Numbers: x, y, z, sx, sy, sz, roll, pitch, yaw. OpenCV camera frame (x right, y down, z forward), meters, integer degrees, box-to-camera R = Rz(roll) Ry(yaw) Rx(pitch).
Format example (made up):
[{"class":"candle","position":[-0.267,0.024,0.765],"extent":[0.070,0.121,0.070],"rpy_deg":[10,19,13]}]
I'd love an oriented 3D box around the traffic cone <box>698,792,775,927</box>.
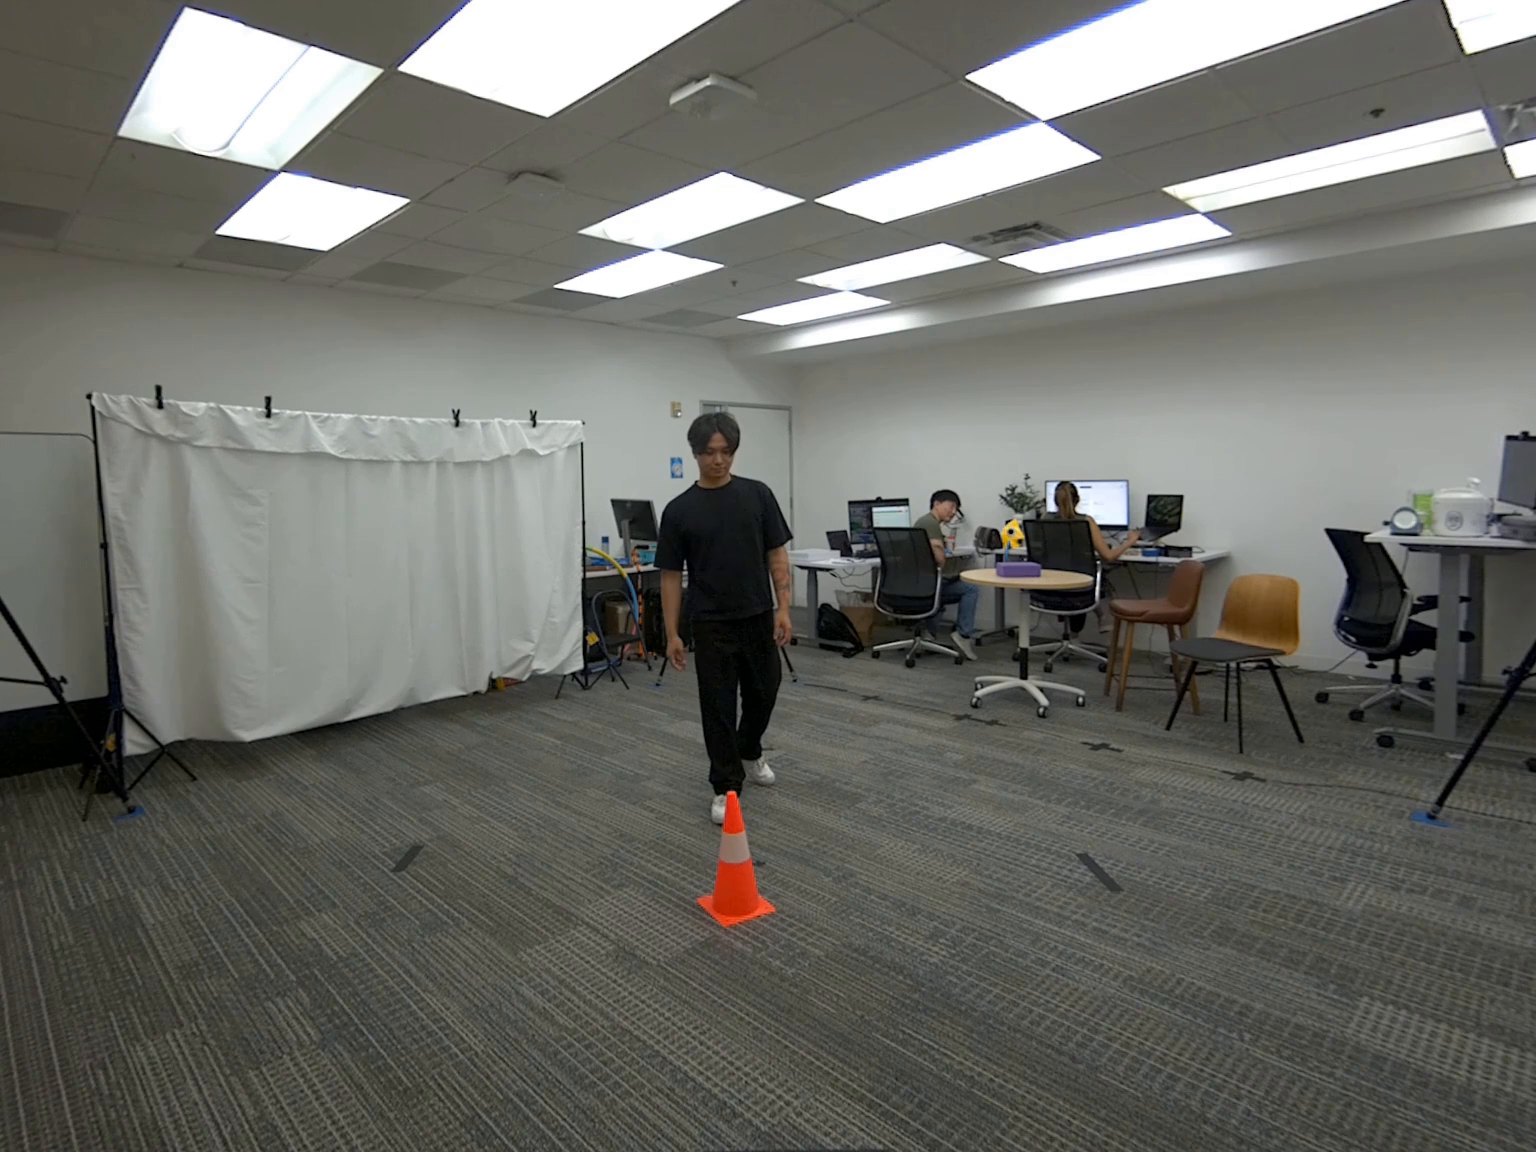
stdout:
[{"class":"traffic cone","position":[-0.117,0.908,2.796],"extent":[0.200,0.382,0.209],"rpy_deg":[-6,5,-32]}]
